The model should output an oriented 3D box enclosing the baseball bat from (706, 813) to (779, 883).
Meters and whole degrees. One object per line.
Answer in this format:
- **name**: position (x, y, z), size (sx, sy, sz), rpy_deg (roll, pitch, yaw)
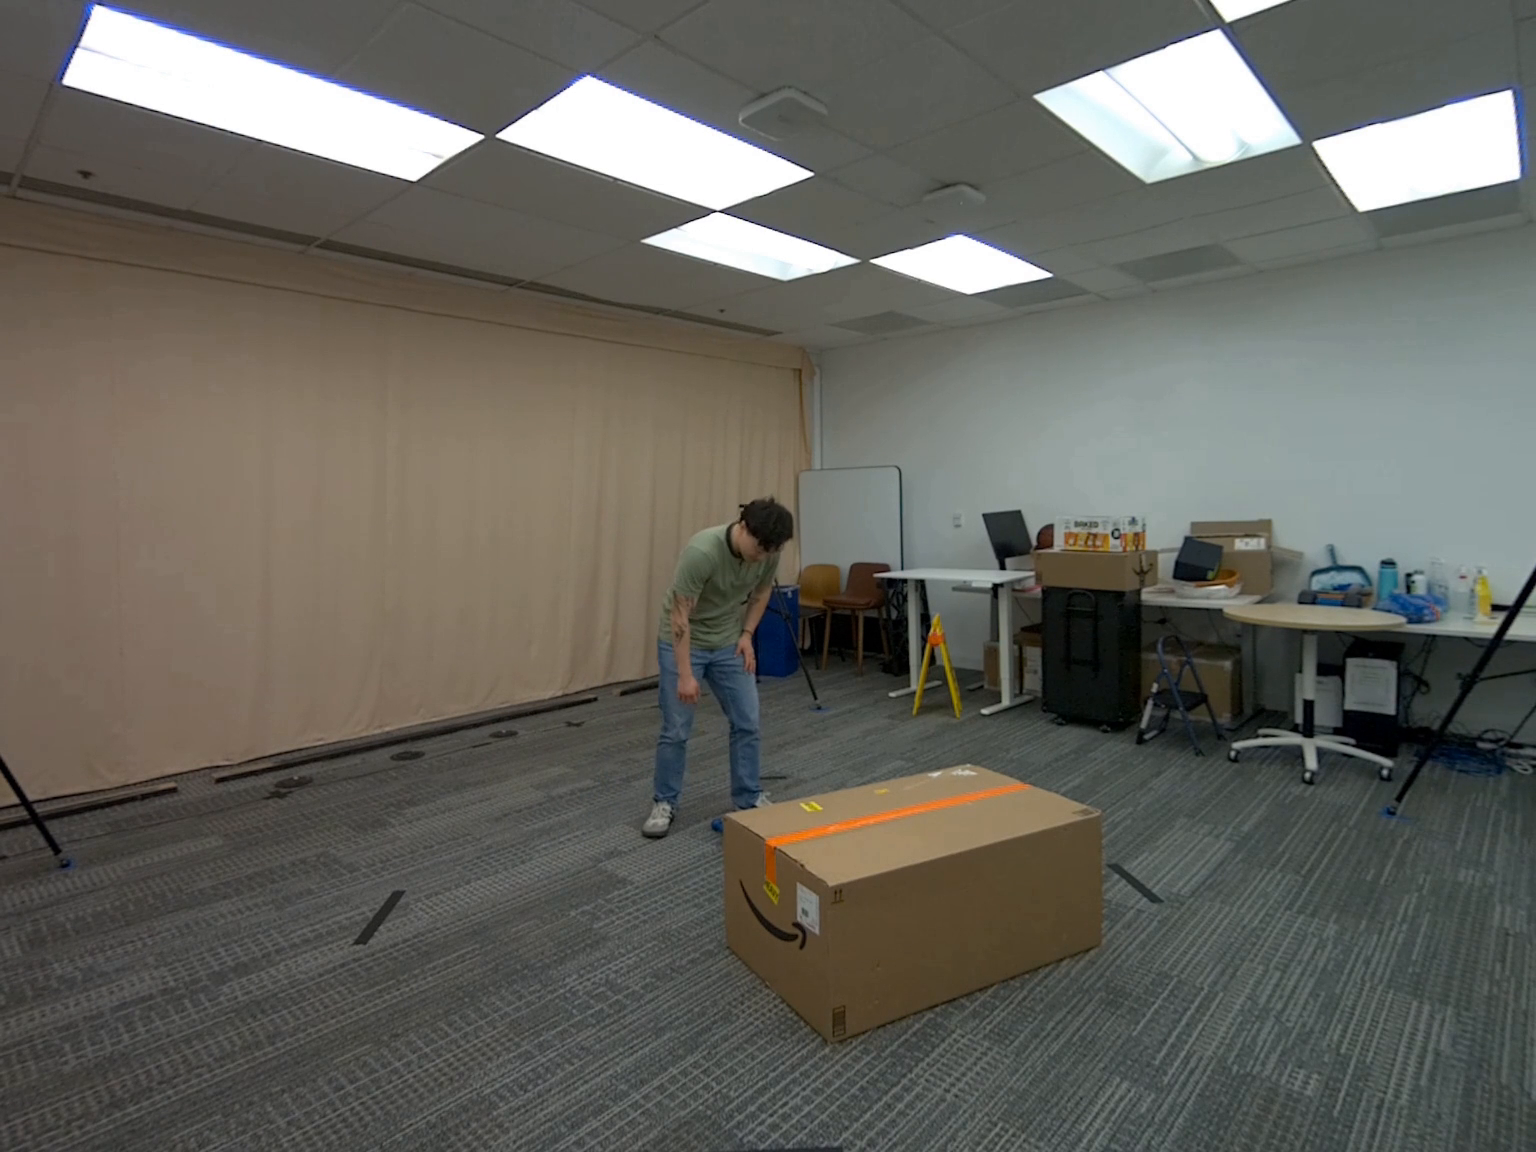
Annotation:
- **baseball bat**: position (-0.114, 1.069, 3.370), size (0.087, 0.089, 0.555), rpy_deg (-2, 2, -23)
